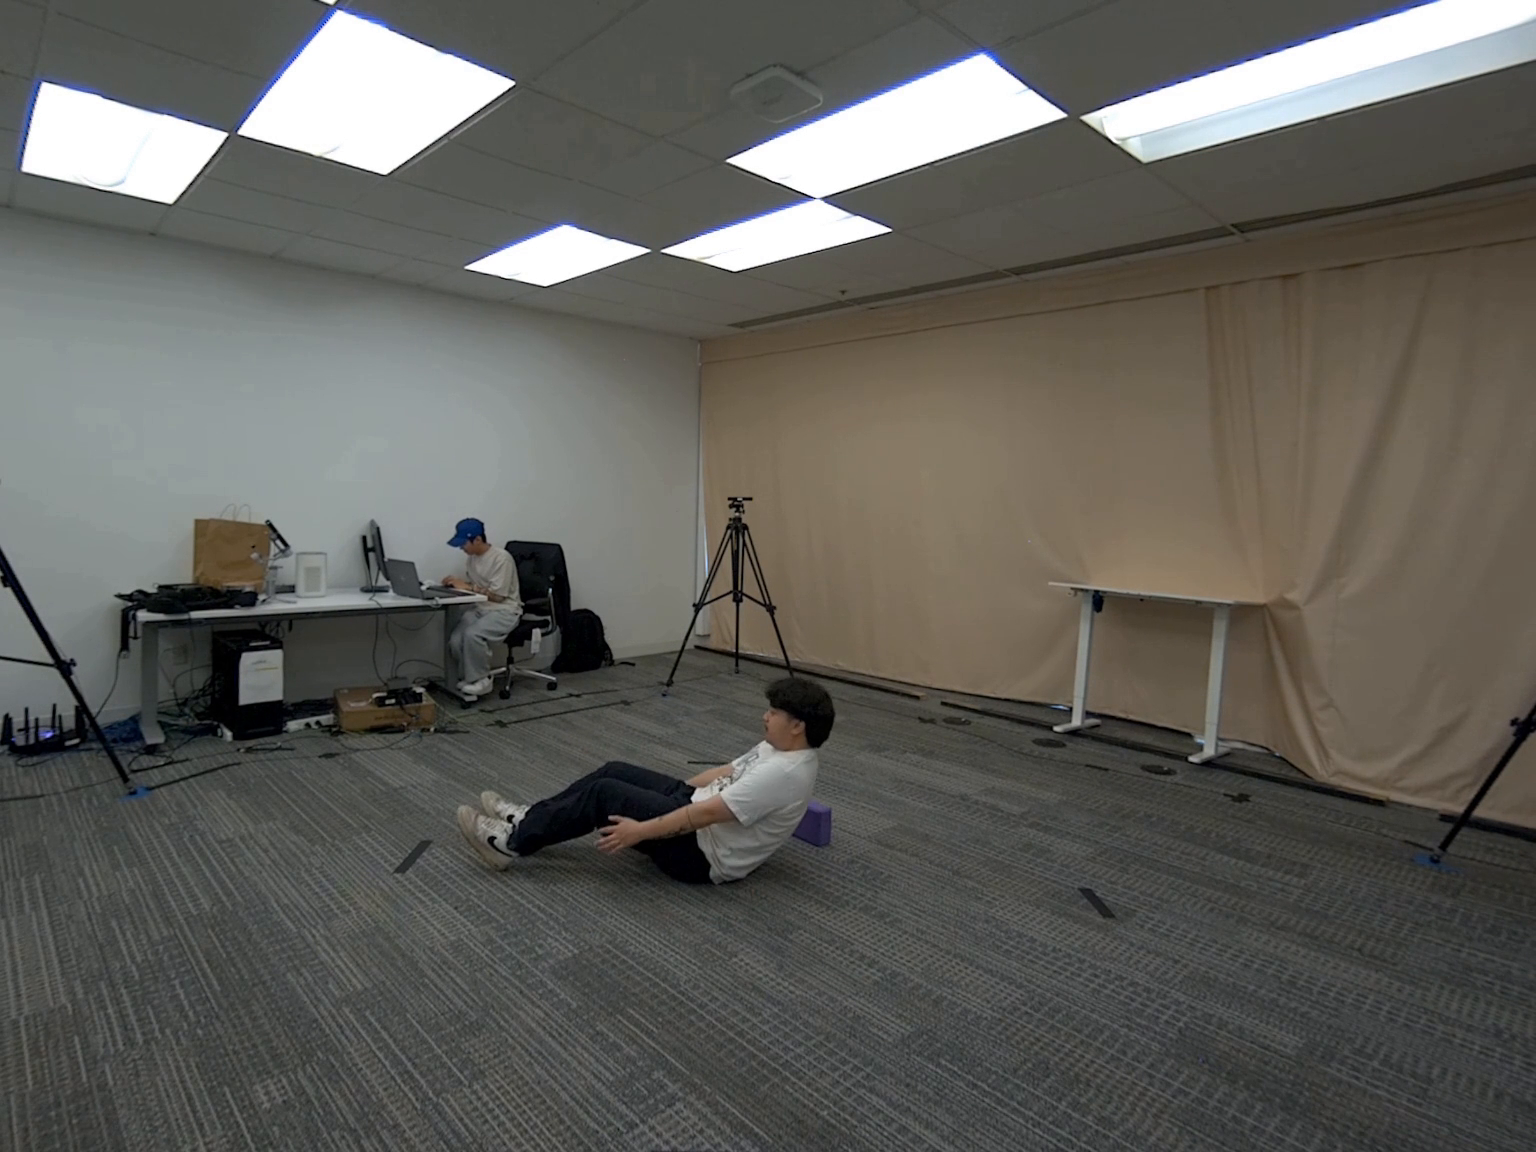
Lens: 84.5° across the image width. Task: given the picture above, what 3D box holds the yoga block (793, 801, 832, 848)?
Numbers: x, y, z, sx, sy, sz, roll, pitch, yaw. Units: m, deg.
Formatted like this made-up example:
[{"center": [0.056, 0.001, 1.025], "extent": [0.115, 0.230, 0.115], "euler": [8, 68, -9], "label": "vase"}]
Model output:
[{"center": [0.148, 1.006, 3.488], "extent": [0.074, 0.149, 0.235], "euler": [1, 3, -40], "label": "yoga block"}]
